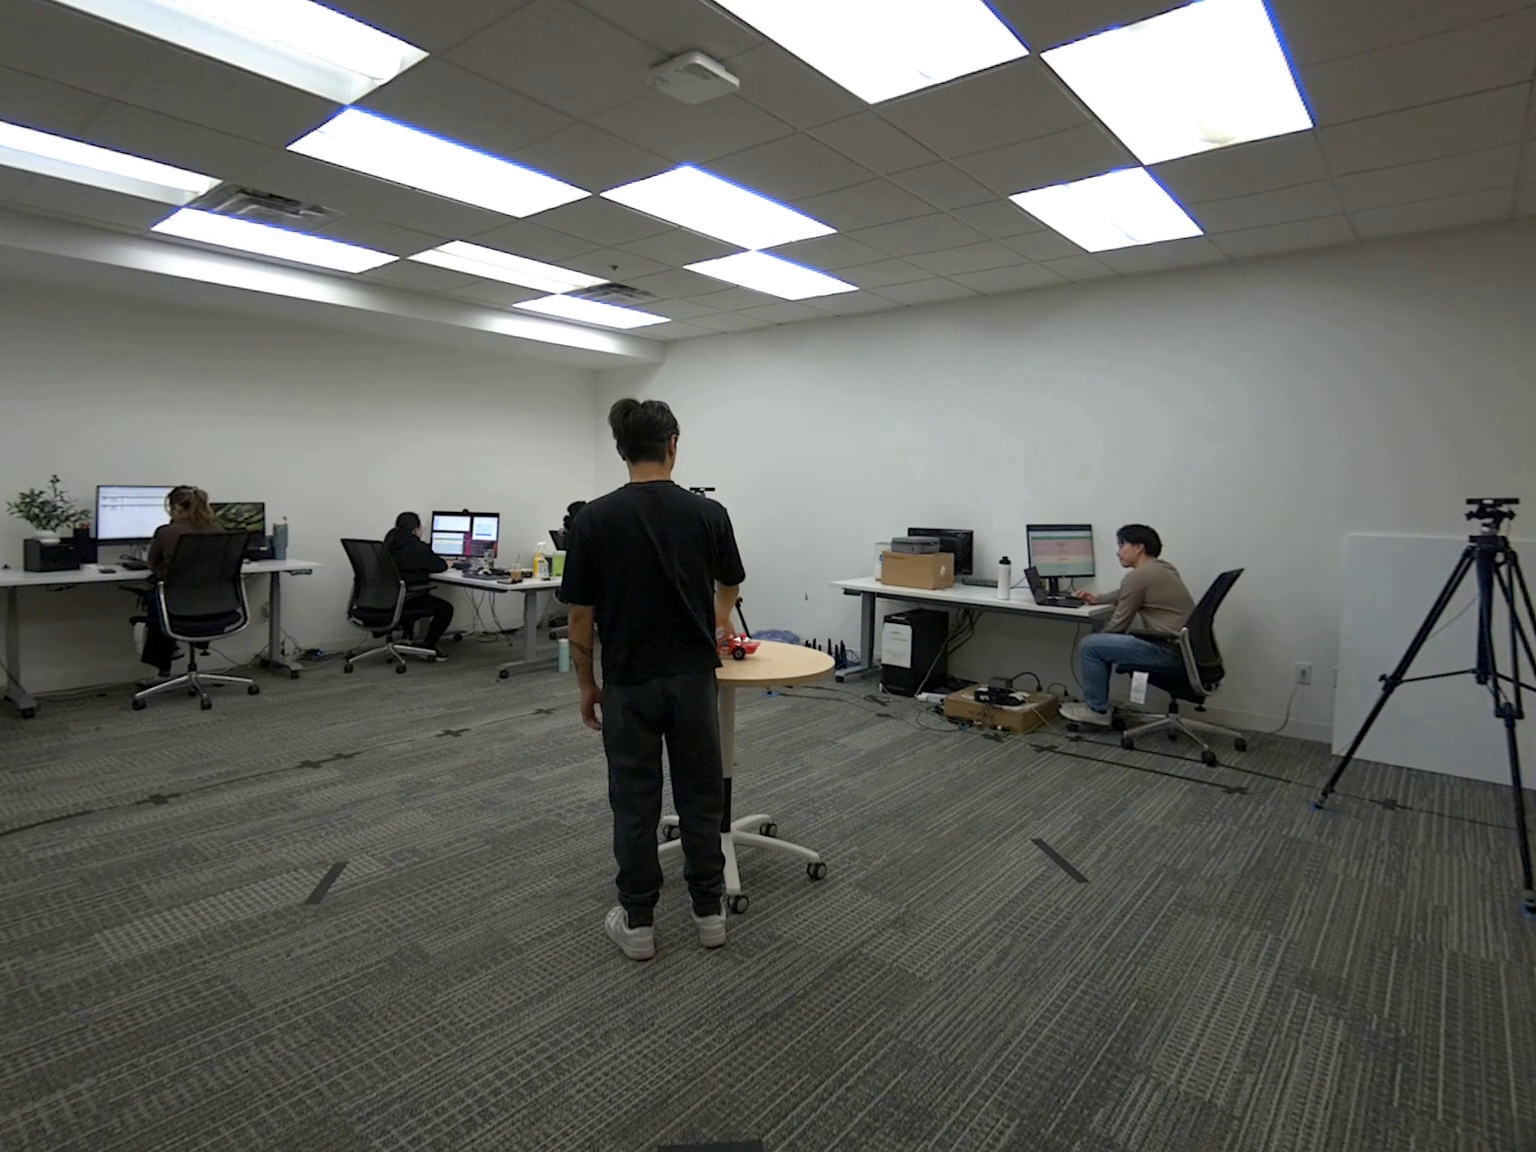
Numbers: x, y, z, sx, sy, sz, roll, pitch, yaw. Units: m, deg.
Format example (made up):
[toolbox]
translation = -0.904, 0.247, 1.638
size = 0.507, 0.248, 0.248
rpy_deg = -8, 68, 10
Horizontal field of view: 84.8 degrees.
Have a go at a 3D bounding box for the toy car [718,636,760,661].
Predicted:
[toy car]
translation = -0.155, 0.260, 3.061
size = 0.256, 0.083, 0.130
rpy_deg = -10, 3, 6
